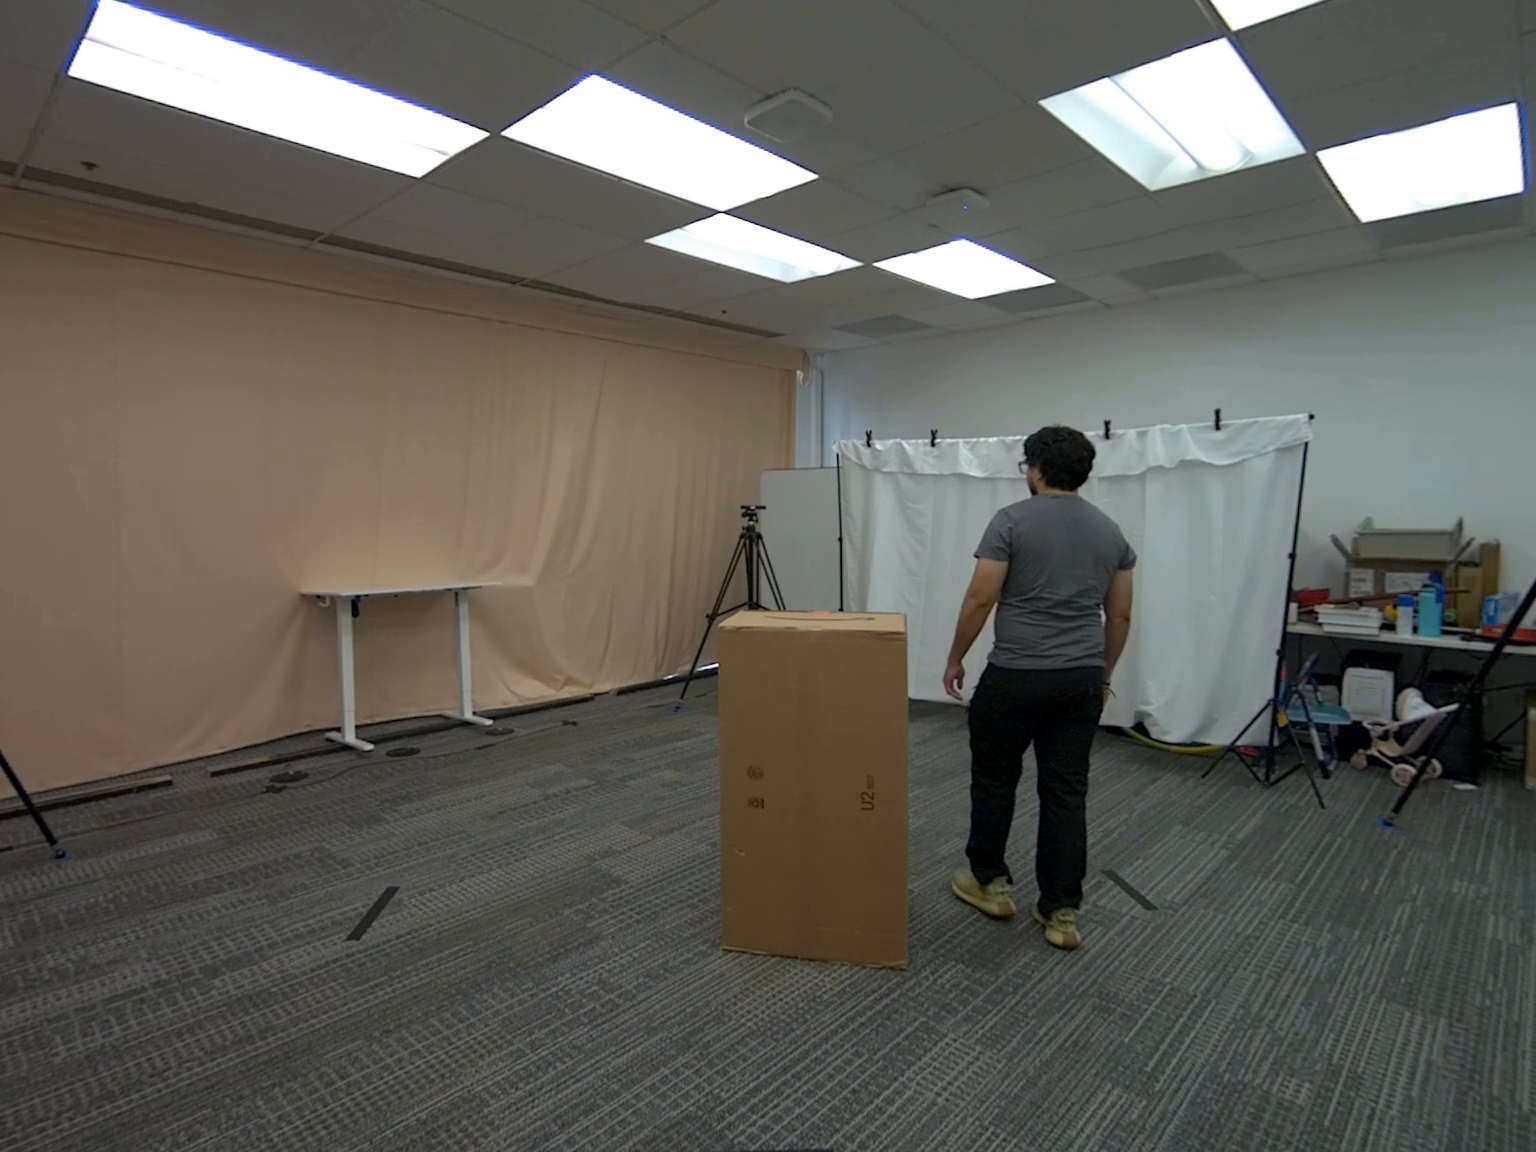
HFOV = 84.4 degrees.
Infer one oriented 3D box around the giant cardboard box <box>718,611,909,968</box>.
[{"bbox_3d":[0.170,0.649,2.767,0.585,1.024,0.421,0,3,11],"label":"giant cardboard box"}]
